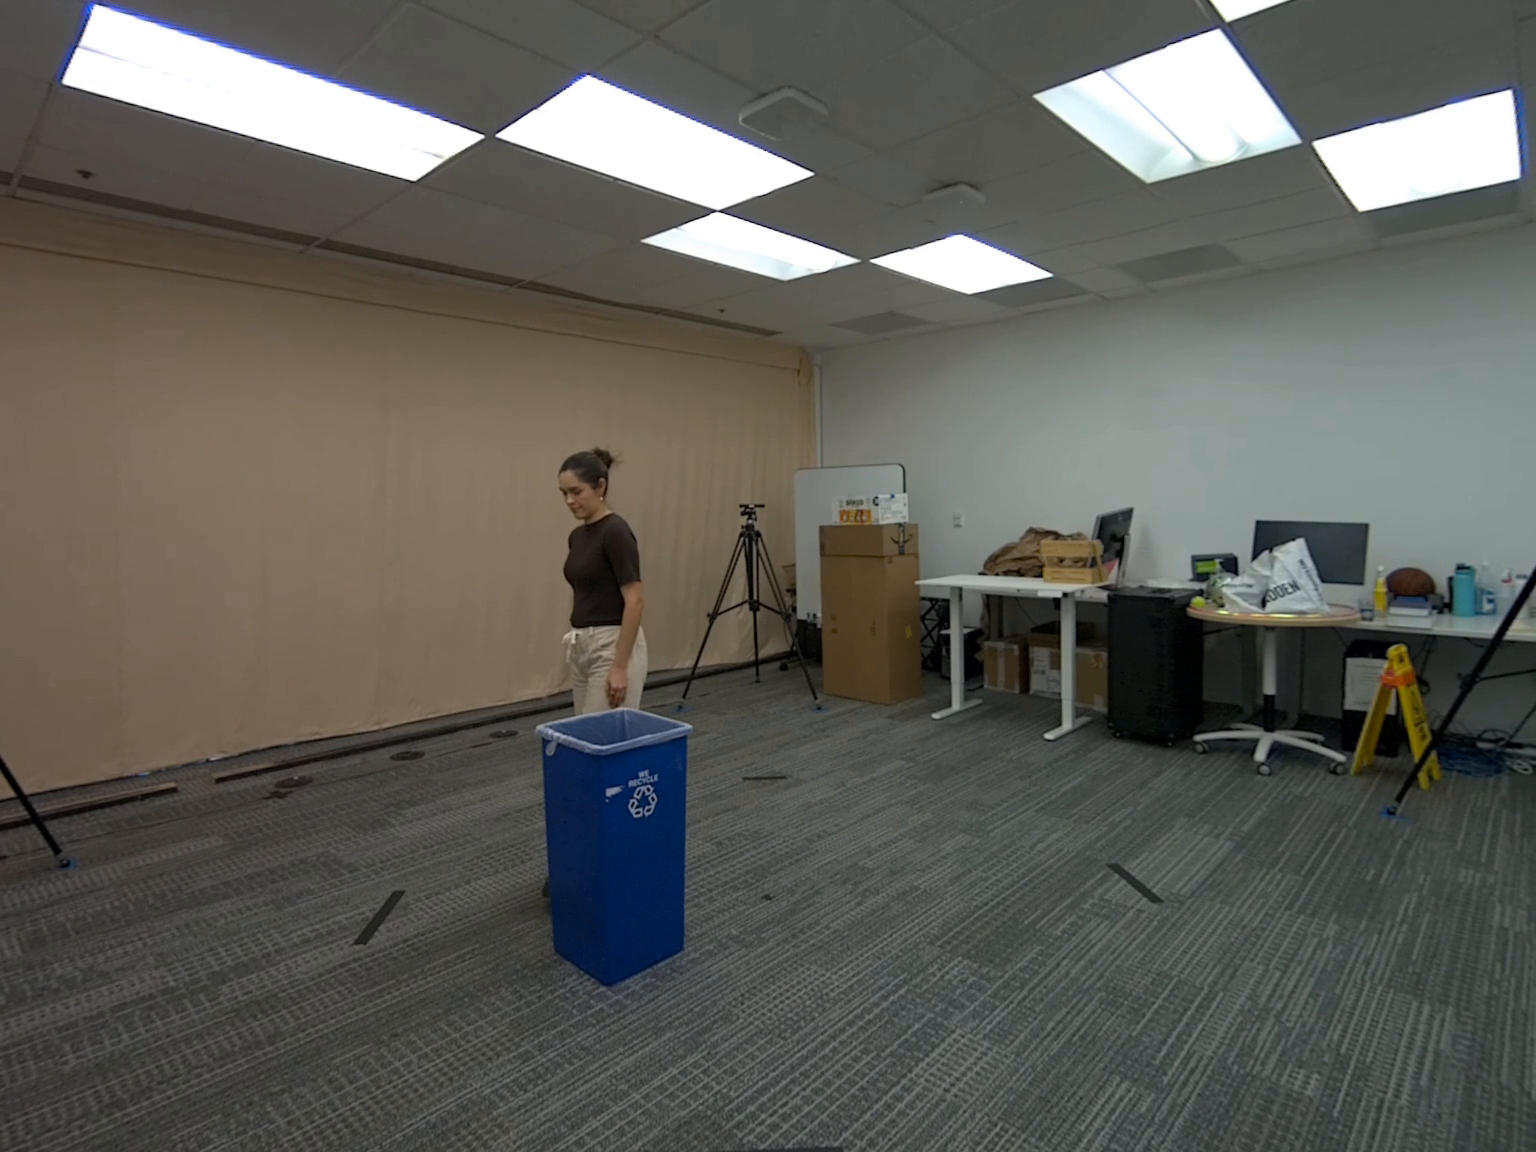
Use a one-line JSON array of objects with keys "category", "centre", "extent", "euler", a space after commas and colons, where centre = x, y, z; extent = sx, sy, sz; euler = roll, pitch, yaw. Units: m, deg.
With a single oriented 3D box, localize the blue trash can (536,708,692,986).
[{"category": "blue trash can", "centre": [-0.465, 0.823, 2.629], "extent": [0.386, 0.712, 0.366], "euler": [1, 4, 44]}]
